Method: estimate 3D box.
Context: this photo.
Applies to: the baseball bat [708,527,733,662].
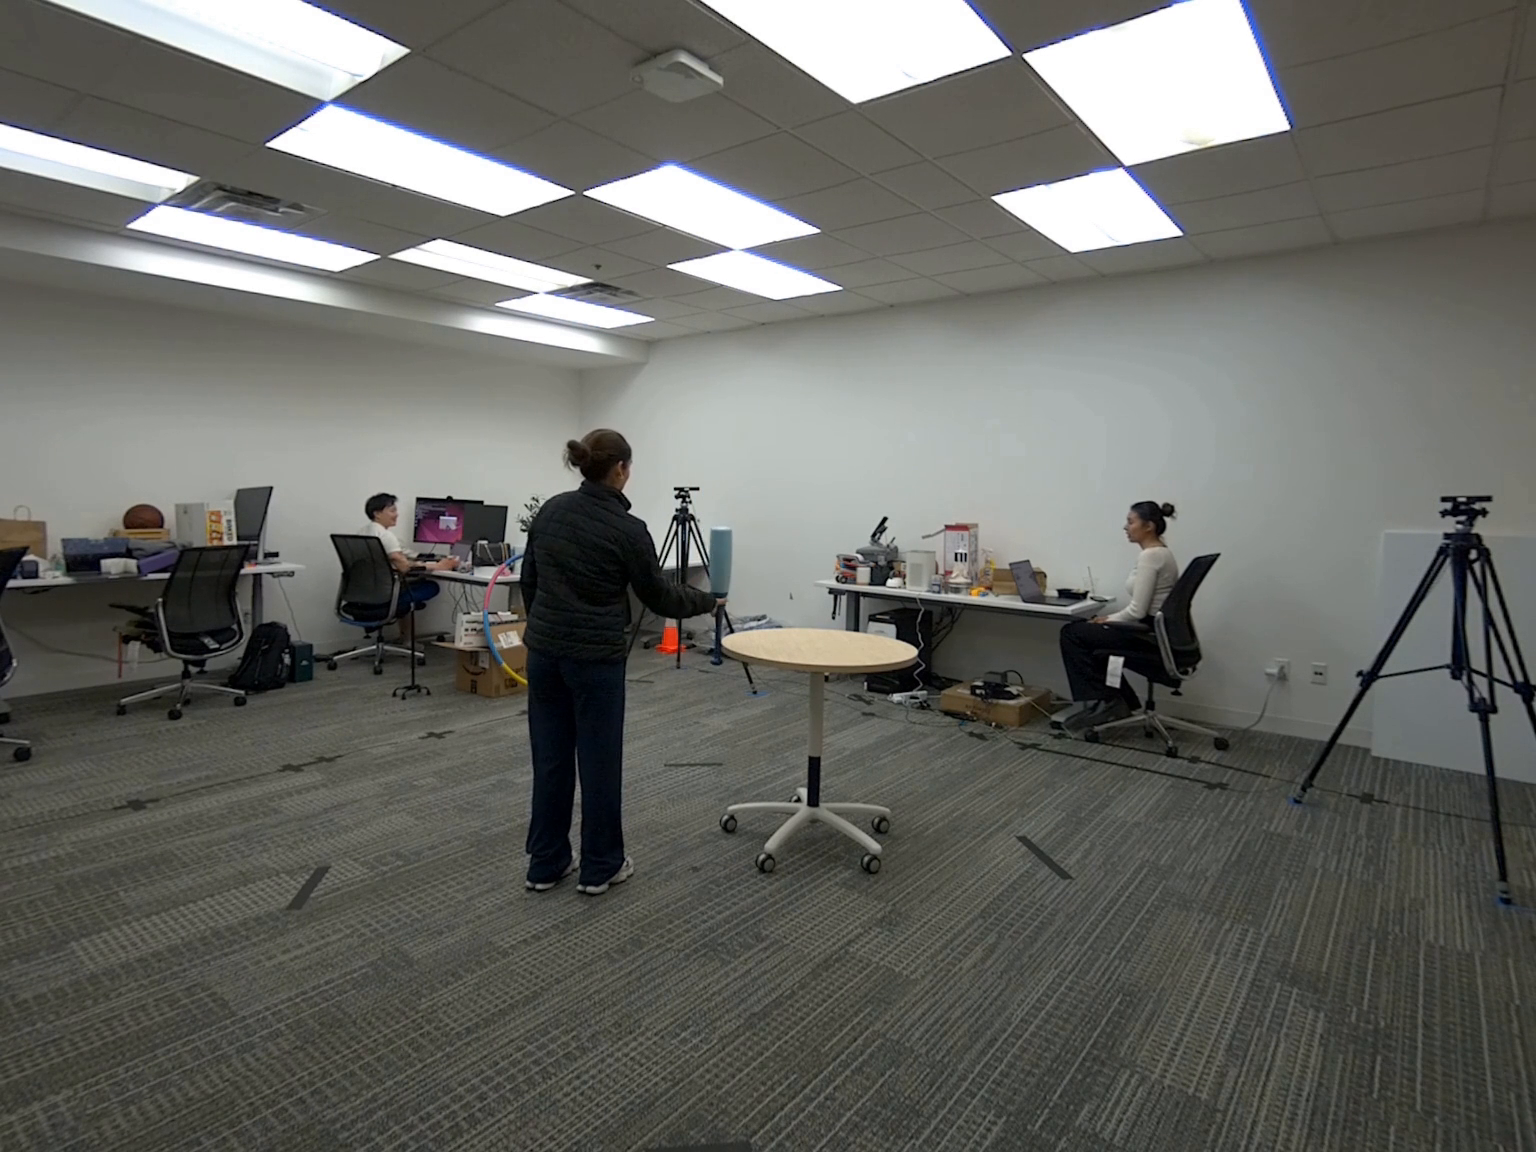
[{"bbox_3d":[-0.205,0.027,3.315,0.089,0.539,0.090,2,7,-2],"label":"baseball bat"}]
